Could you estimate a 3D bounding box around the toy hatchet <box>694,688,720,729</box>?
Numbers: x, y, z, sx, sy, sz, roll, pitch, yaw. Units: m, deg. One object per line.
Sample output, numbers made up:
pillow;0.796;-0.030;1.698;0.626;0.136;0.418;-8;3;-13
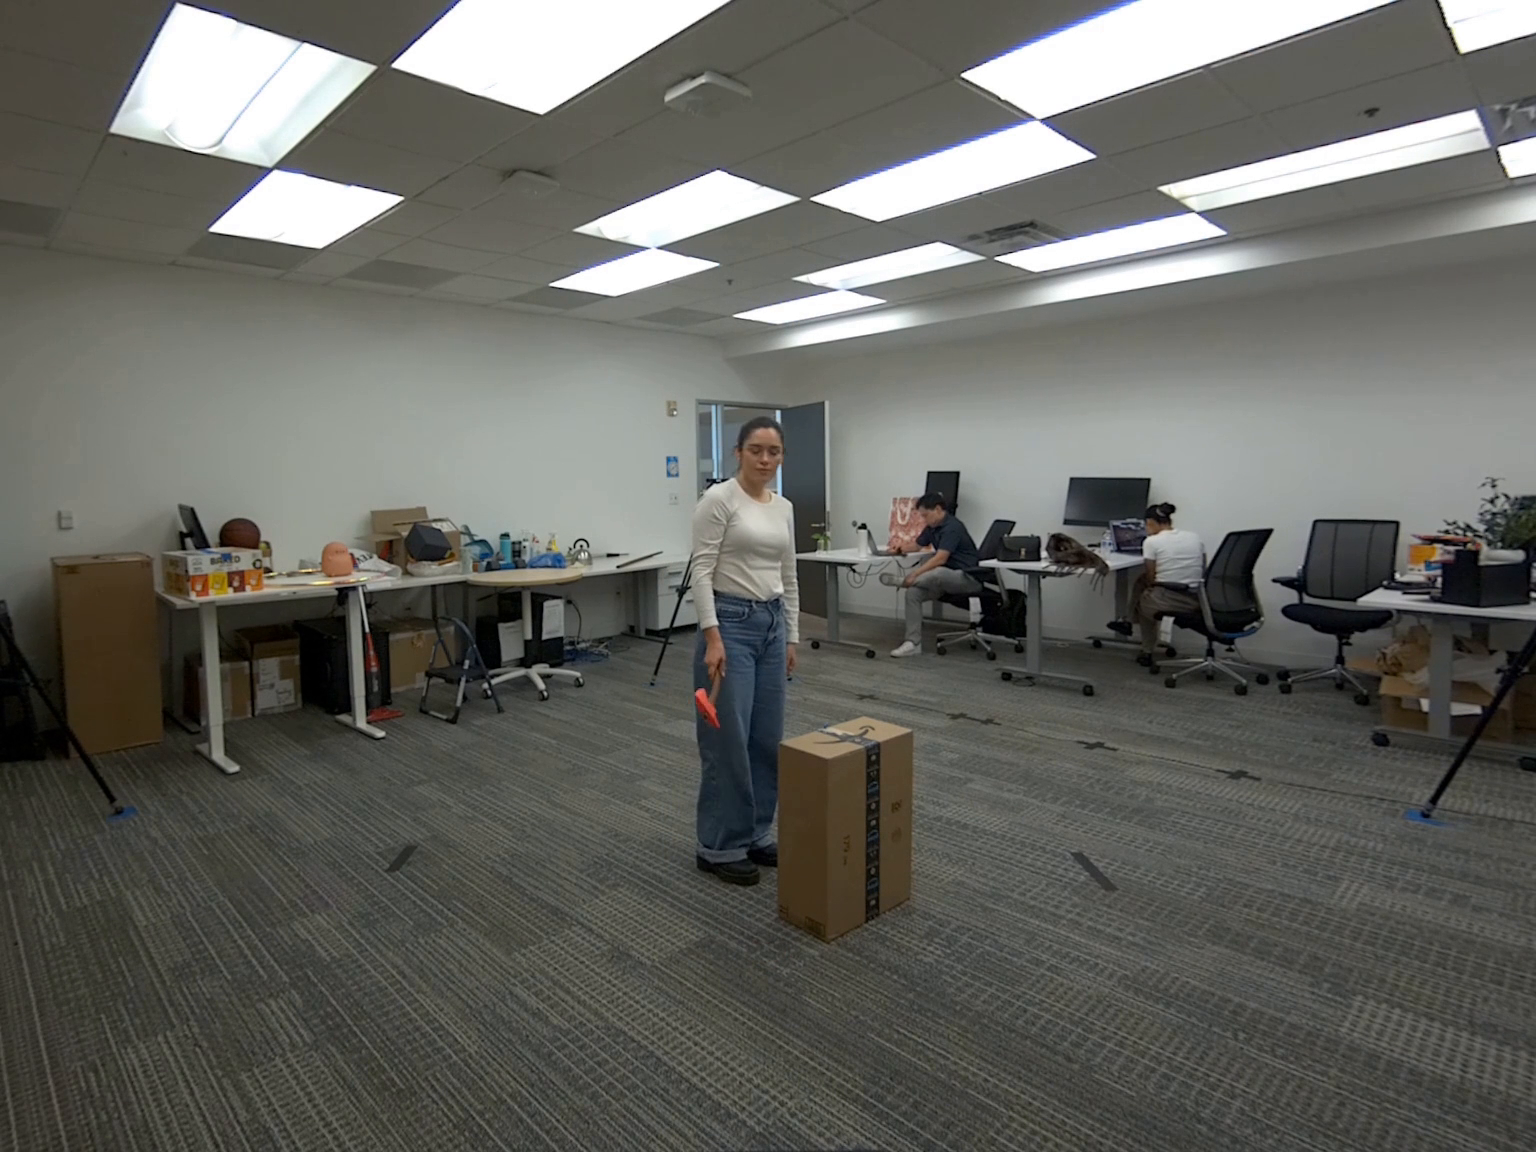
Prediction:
toy hatchet;-0.170;0.344;2.694;0.030;0.126;0.277;-24;36;22
